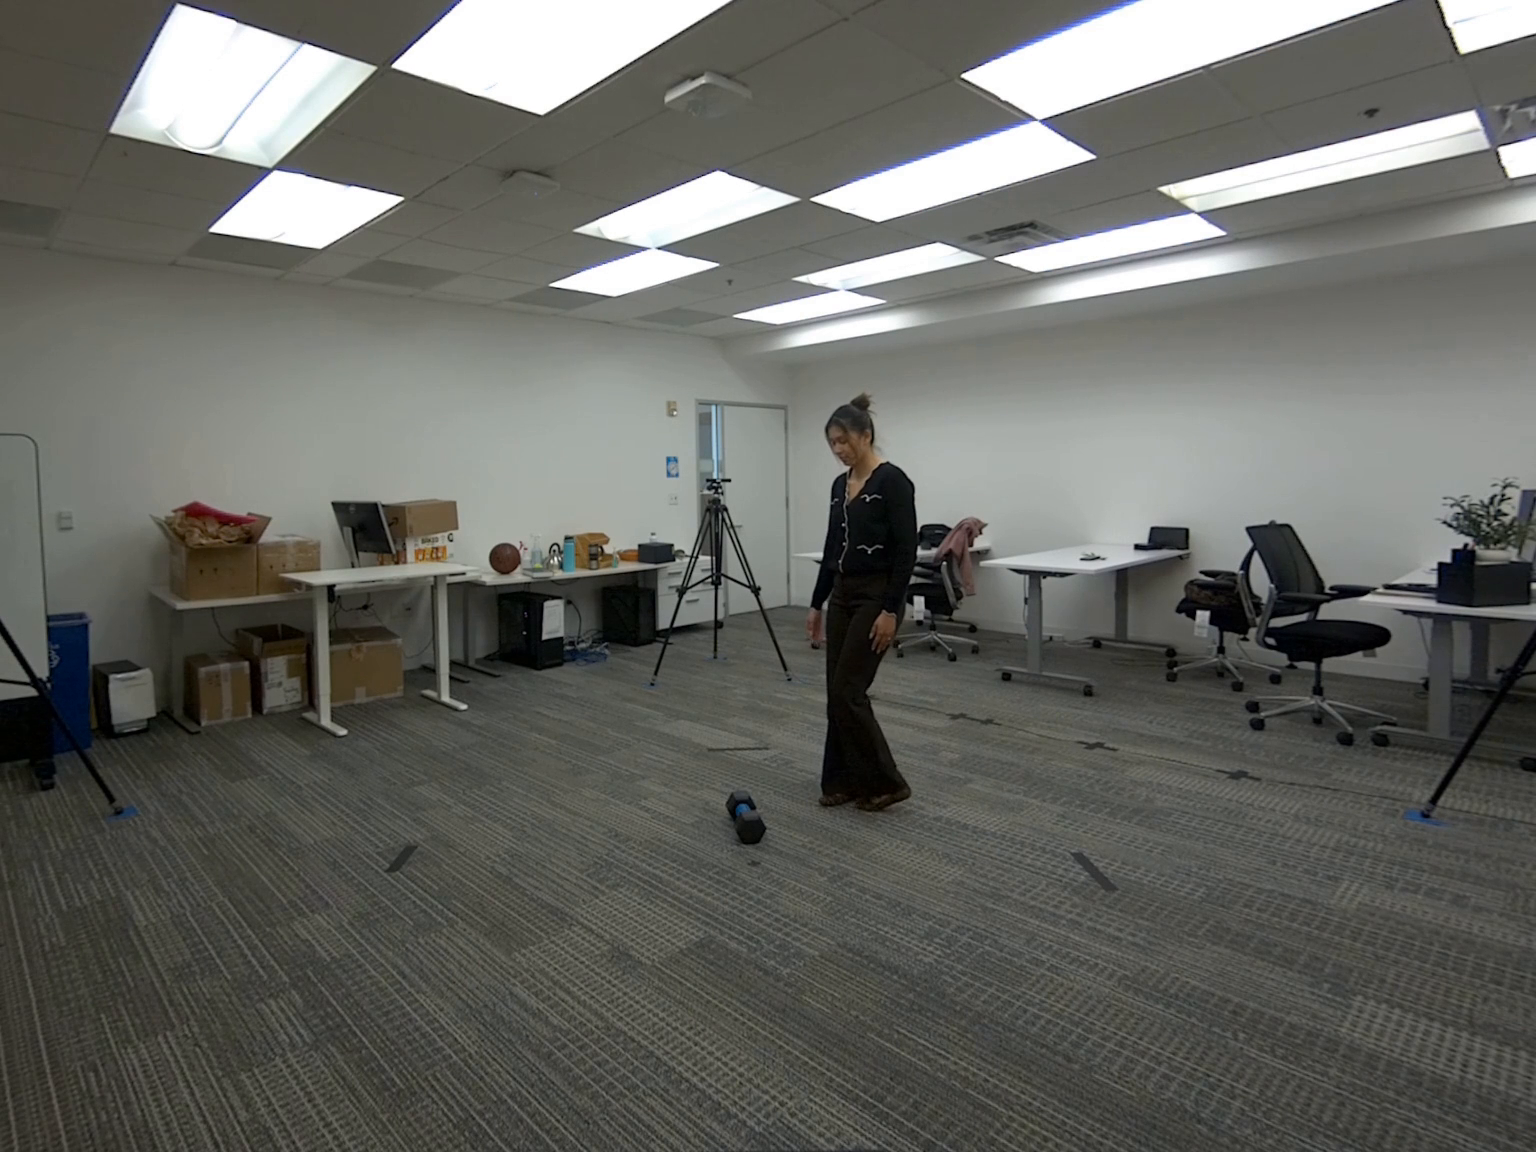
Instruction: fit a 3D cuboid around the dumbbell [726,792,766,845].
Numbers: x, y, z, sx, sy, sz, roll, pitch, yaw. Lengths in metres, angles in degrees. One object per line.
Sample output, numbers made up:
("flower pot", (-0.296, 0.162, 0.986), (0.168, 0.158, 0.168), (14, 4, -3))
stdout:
("dumbbell", (-0.089, 0.959, 3.404), (0.108, 0.121, 0.297), (-32, 11, -5))
